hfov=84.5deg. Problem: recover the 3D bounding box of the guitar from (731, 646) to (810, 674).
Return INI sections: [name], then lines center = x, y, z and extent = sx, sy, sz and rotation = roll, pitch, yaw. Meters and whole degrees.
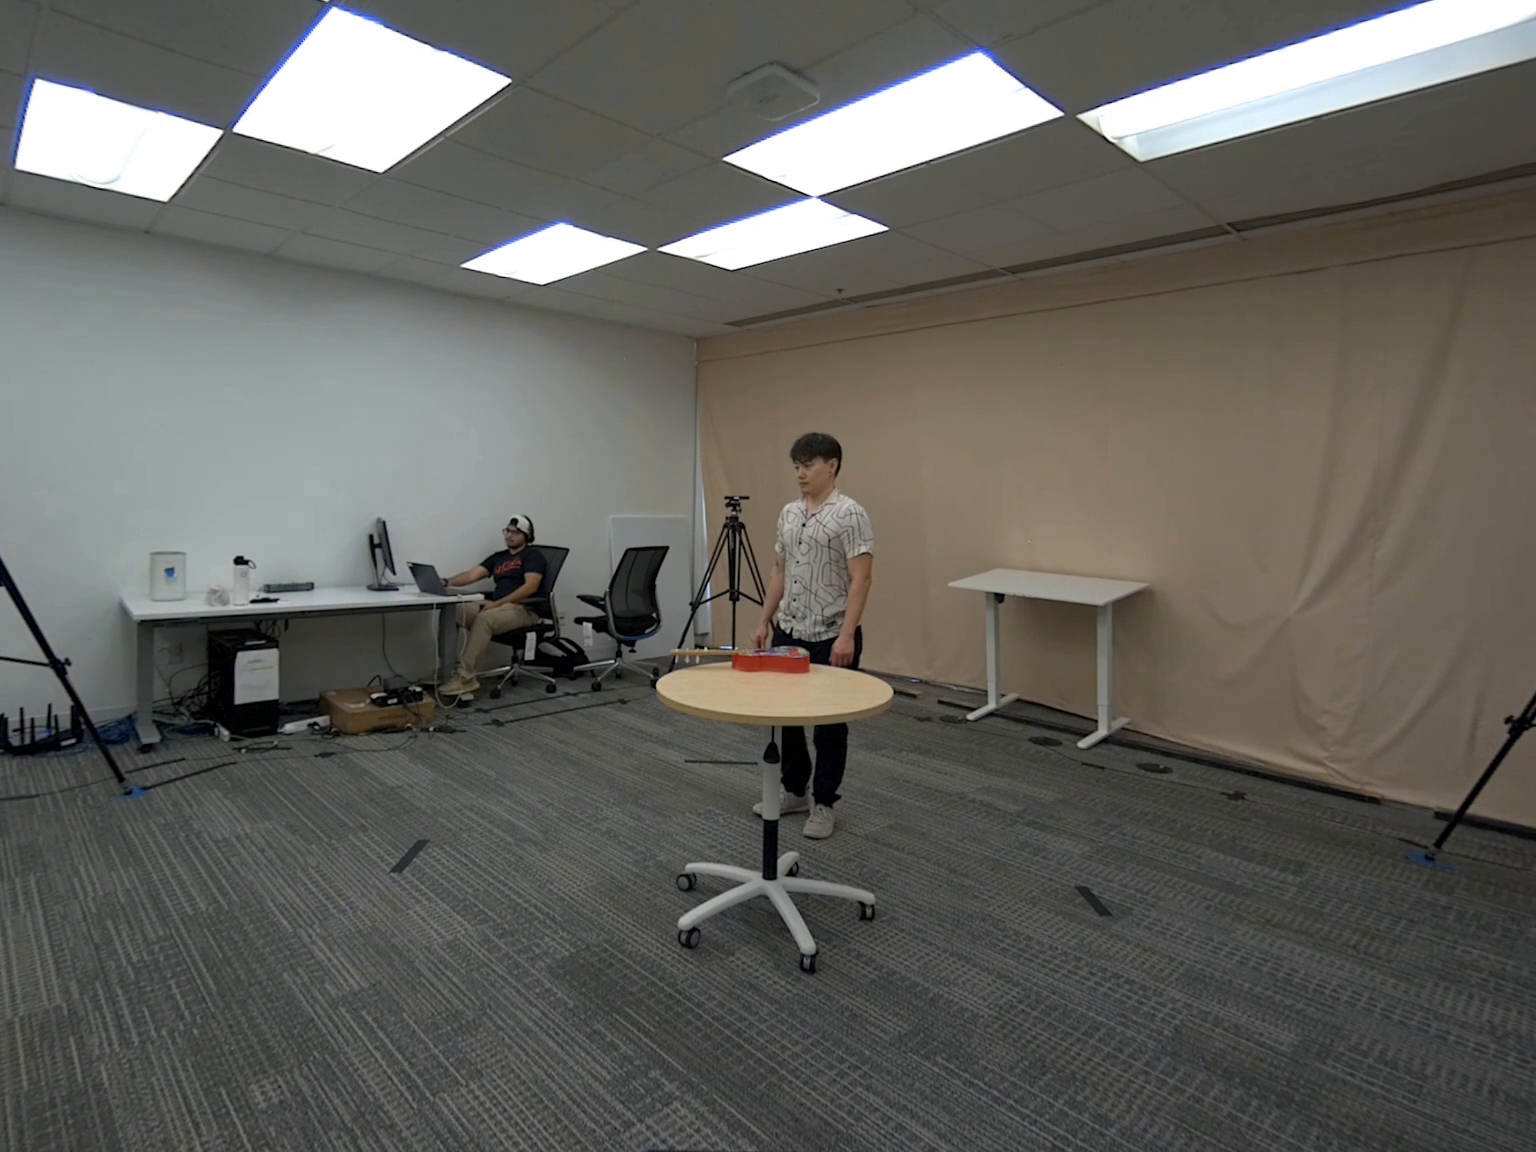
[guitar]
center = -0.096, 0.296, 3.026
extent = 0.499, 0.070, 0.193
rotation = 1, 6, 4
